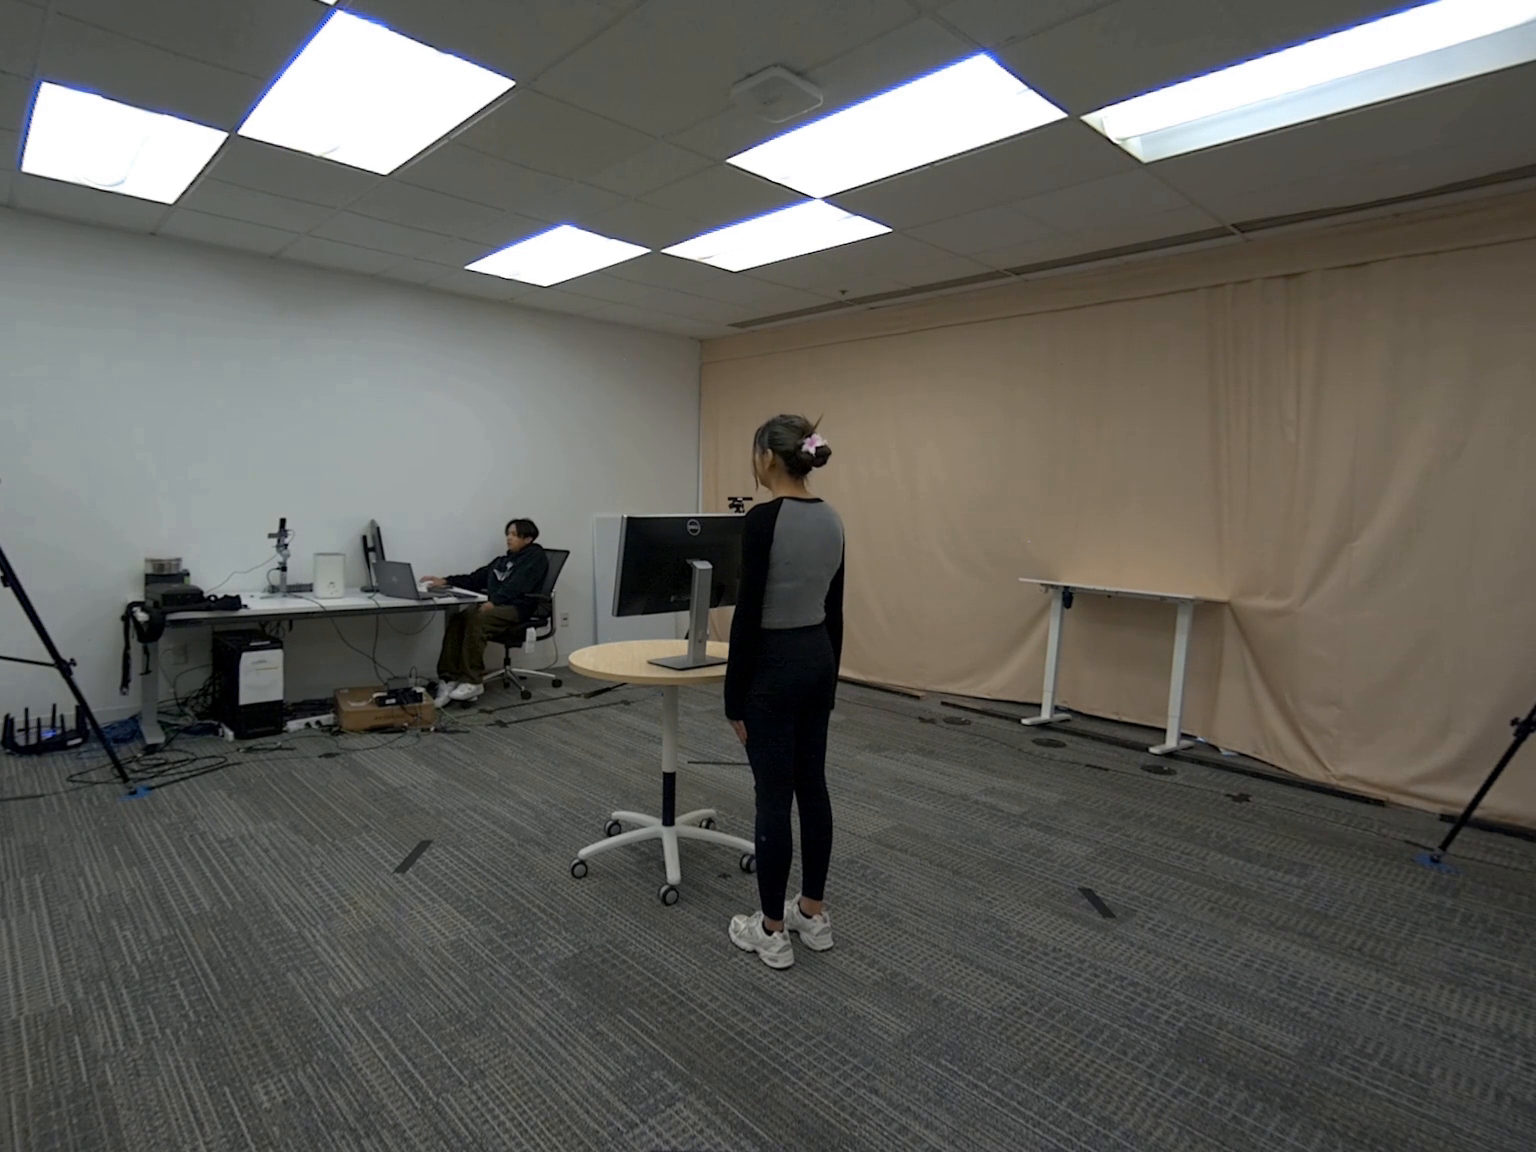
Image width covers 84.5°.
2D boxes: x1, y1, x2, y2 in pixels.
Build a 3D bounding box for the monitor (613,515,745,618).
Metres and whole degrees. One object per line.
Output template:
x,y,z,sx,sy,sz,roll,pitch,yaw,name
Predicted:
-0.289,0.054,3.042,0.527,0.522,0.191,-3,3,-43,monitor
